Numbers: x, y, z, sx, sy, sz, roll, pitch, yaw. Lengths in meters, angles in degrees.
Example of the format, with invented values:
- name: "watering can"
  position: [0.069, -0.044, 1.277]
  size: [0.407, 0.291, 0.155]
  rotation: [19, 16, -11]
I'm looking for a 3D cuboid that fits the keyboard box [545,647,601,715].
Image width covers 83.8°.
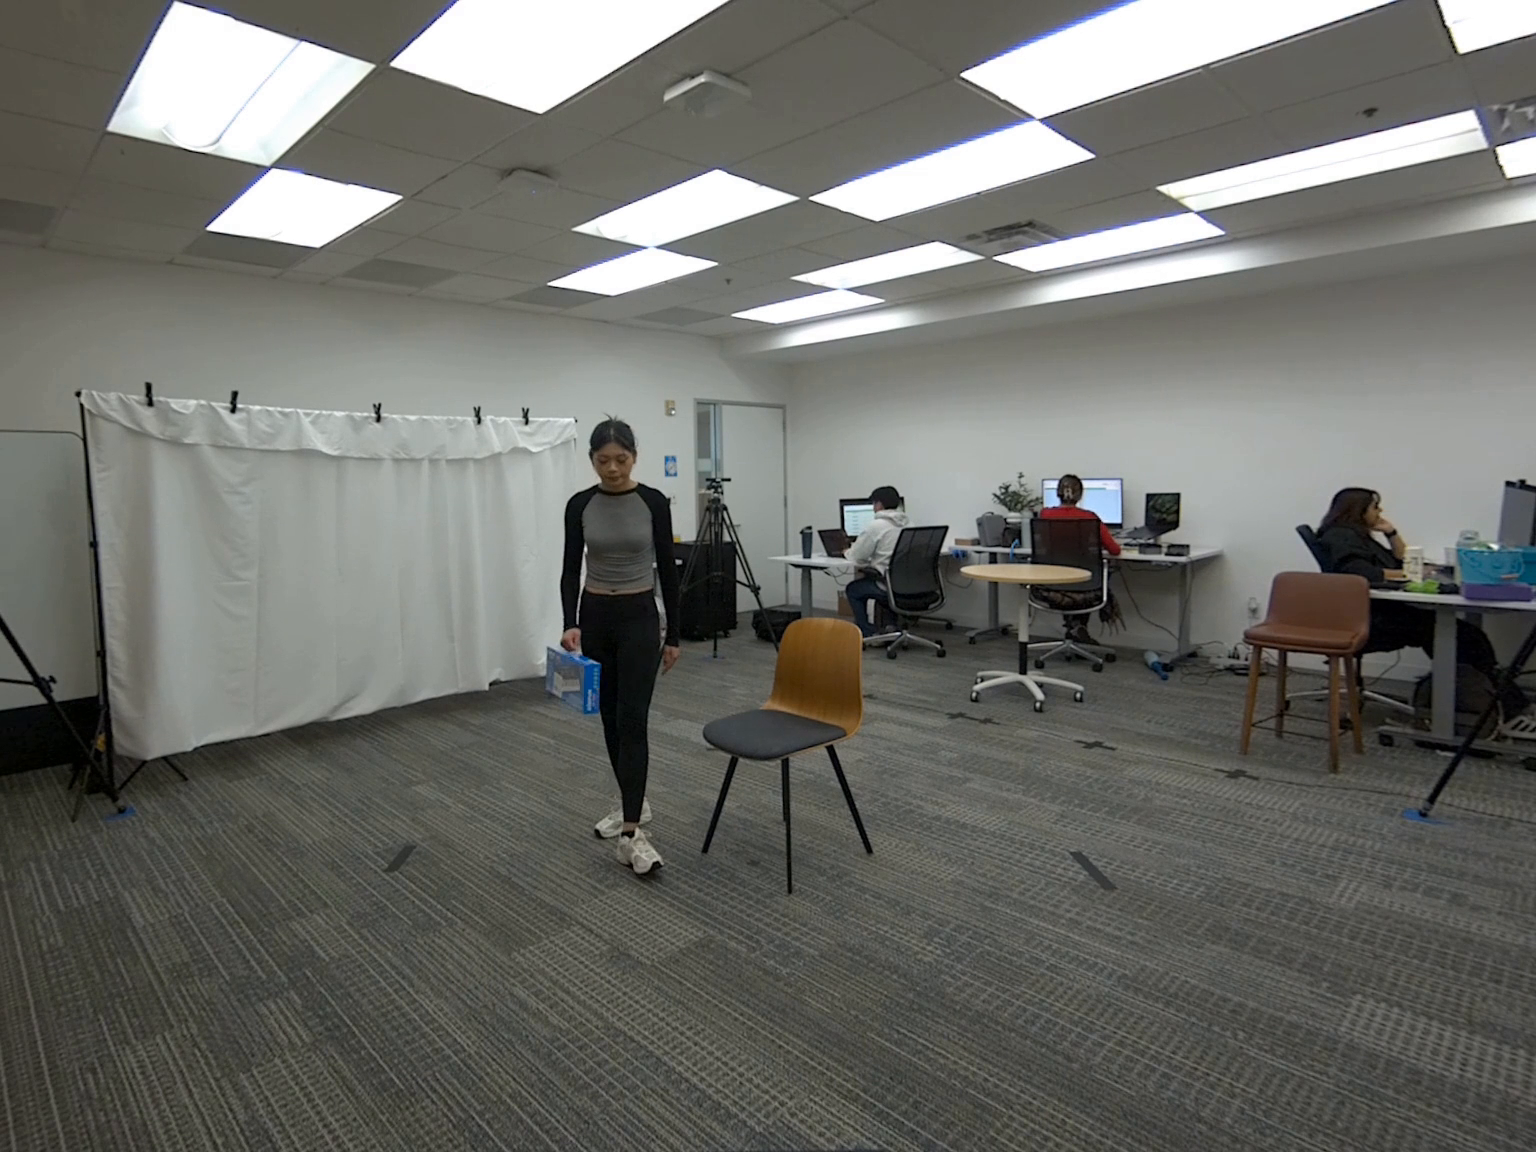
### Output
- name: "keyboard box"
  position: [-0.712, 0.376, 3.138]
  size: [0.058, 0.175, 0.448]
  rotation: [1, 4, -28]
